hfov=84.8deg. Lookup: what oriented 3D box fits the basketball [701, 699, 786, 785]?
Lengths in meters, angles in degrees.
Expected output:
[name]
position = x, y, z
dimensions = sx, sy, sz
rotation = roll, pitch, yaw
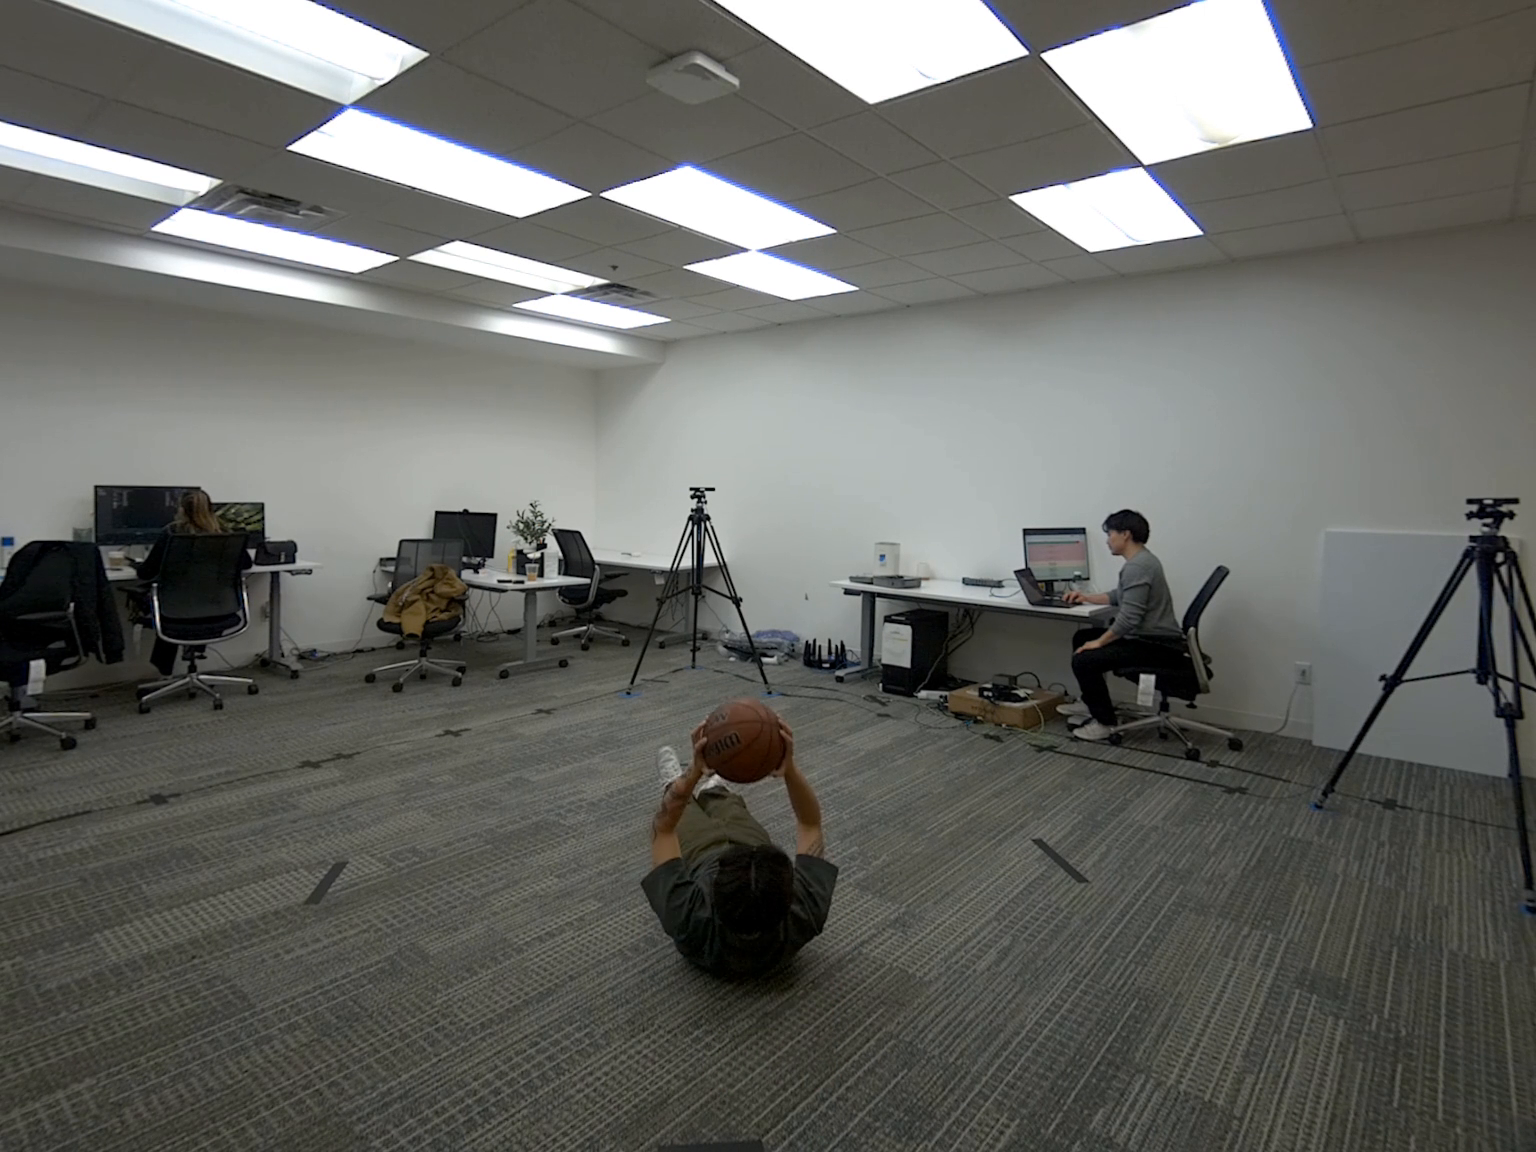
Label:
[basketball]
position = -0.081, 0.478, 2.436
dimensions = 0.235, 0.235, 0.237
rotation = 1, 4, -2
